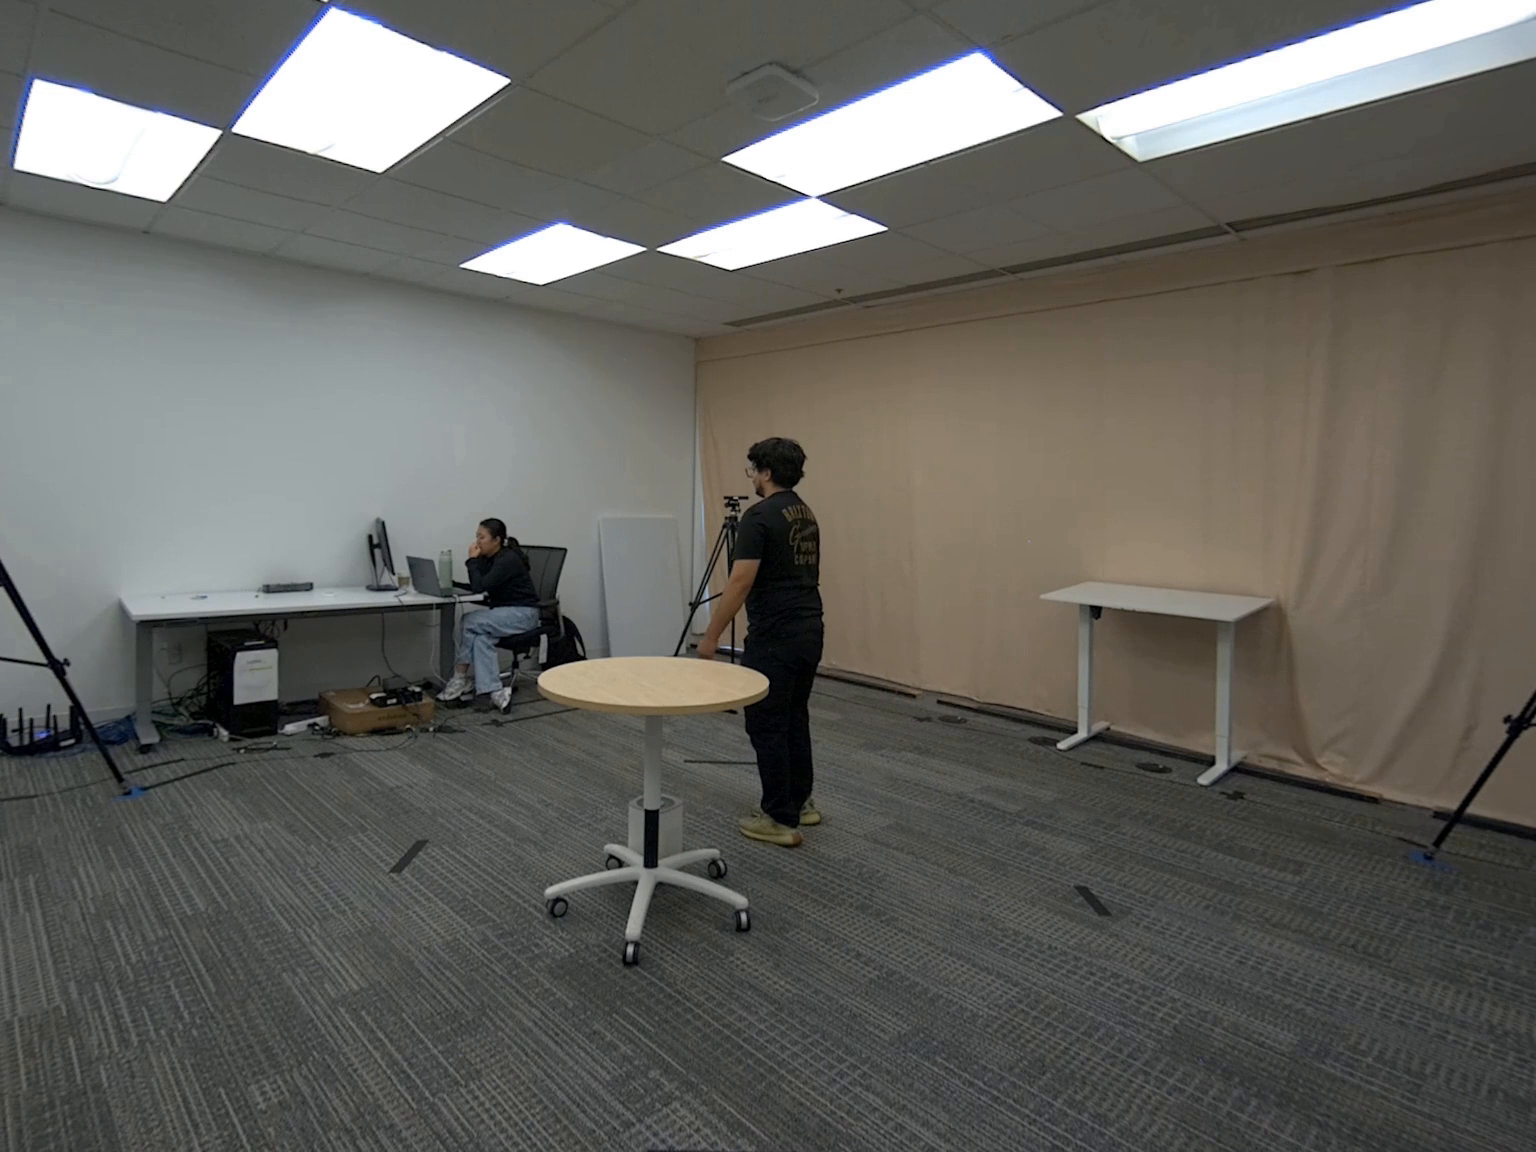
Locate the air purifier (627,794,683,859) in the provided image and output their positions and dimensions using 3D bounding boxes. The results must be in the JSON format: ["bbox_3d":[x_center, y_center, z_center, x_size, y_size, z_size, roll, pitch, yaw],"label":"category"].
[{"bbox_3d":[-0.422,0.965,3.106,0.175,0.264,0.168,4,5,34],"label":"air purifier"}]
